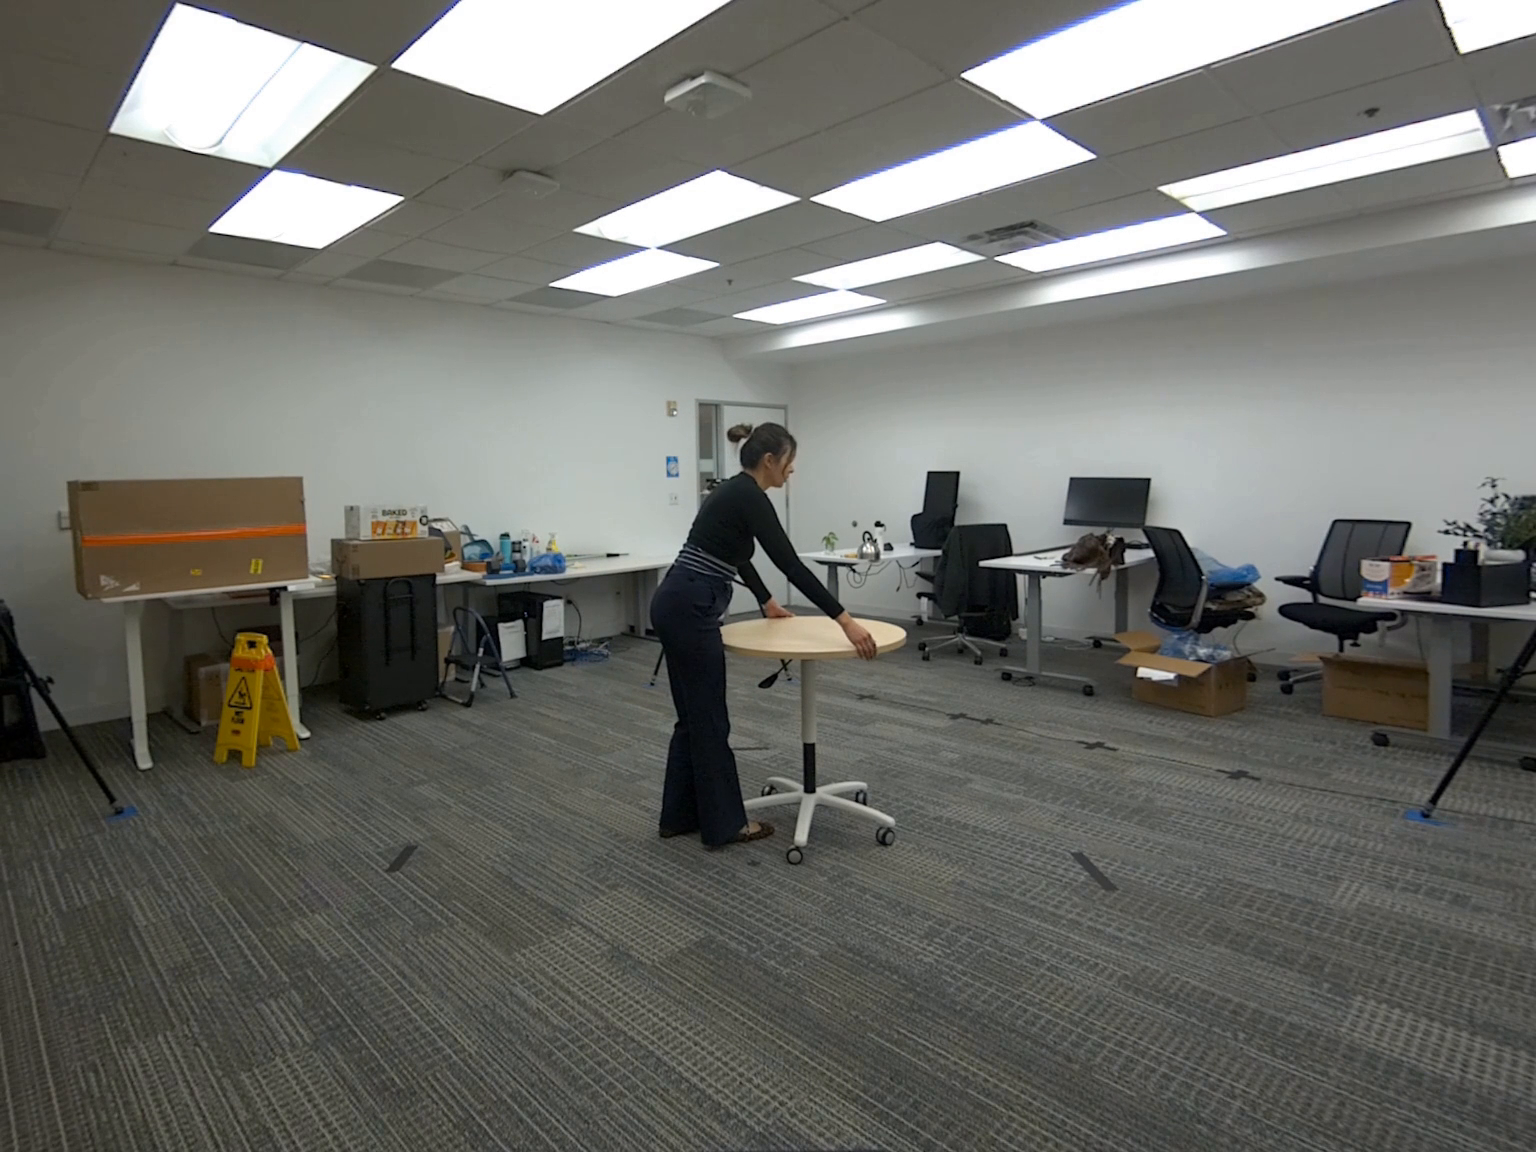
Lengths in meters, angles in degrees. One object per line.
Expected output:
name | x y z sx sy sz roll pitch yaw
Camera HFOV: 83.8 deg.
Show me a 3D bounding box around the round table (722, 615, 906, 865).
round table | 0.166 0.616 3.409 0.763 0.791 0.768 -1 5 -2
